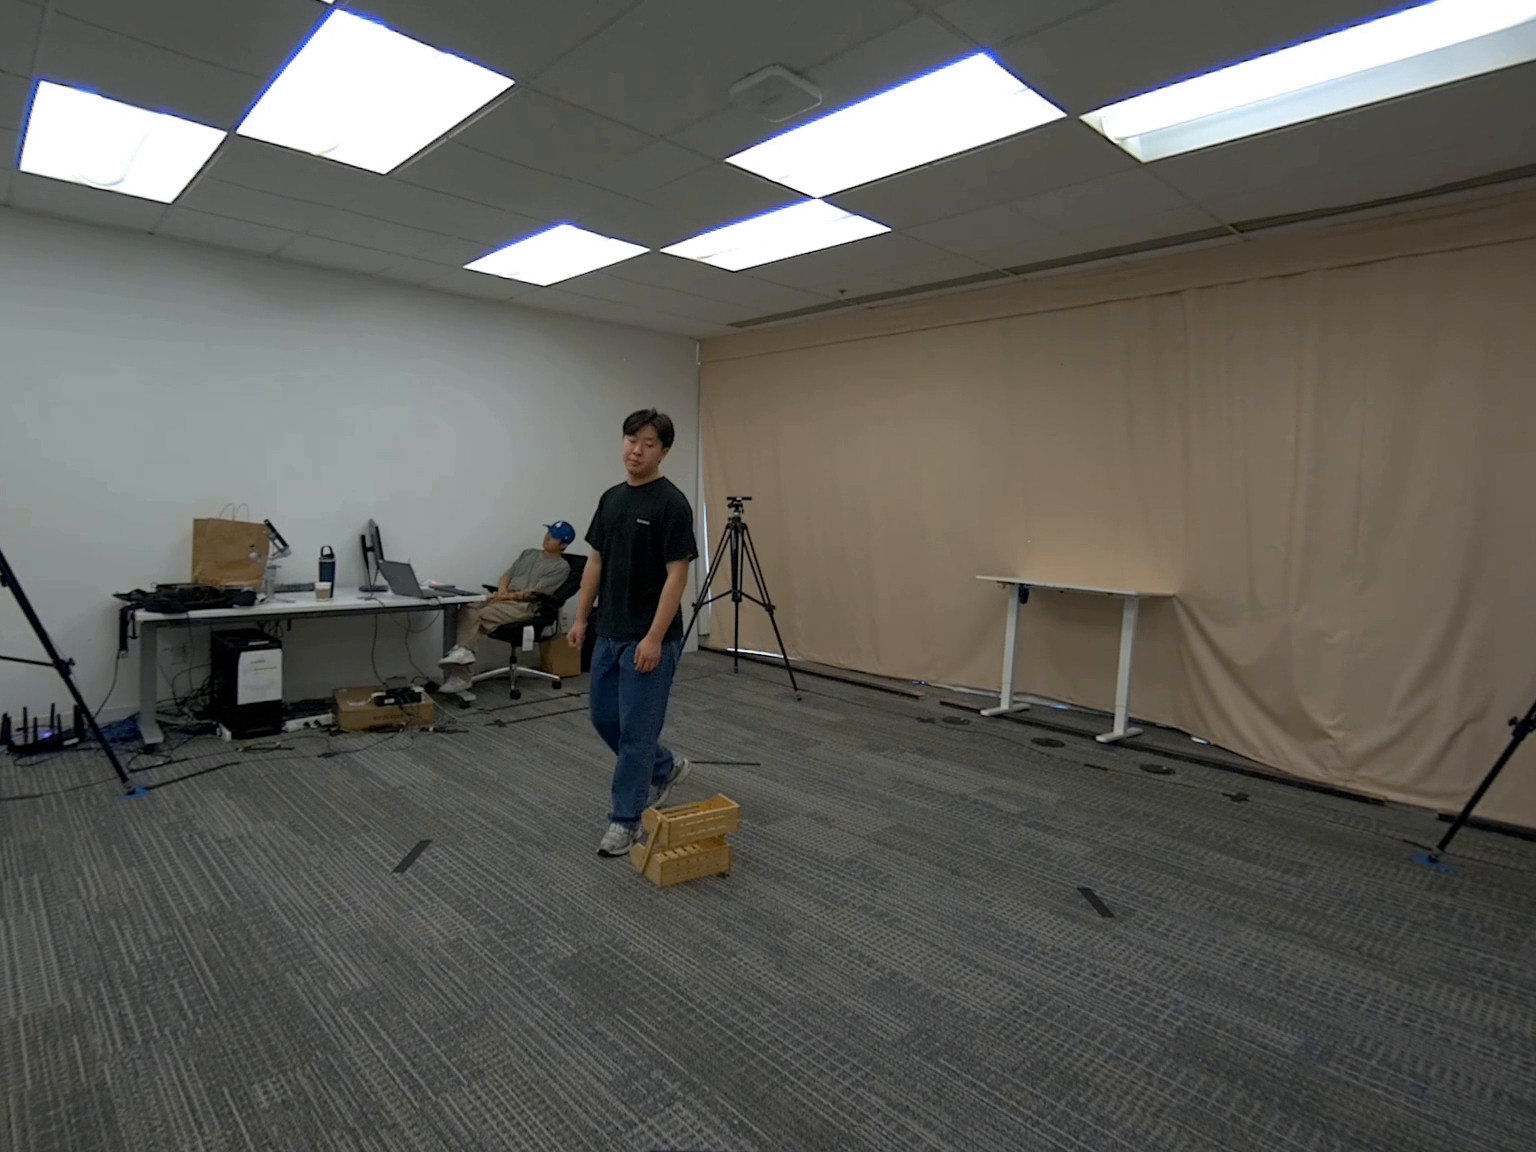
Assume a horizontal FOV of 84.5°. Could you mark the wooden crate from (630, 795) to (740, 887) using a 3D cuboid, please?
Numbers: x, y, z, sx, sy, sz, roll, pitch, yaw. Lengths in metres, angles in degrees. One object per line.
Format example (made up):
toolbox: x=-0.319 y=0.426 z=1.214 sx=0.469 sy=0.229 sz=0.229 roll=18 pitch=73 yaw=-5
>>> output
wooden crate: x=-0.320 y=0.967 z=3.153 sx=0.317 sy=0.272 sz=0.309 roll=-2 pitch=6 yaw=-34
